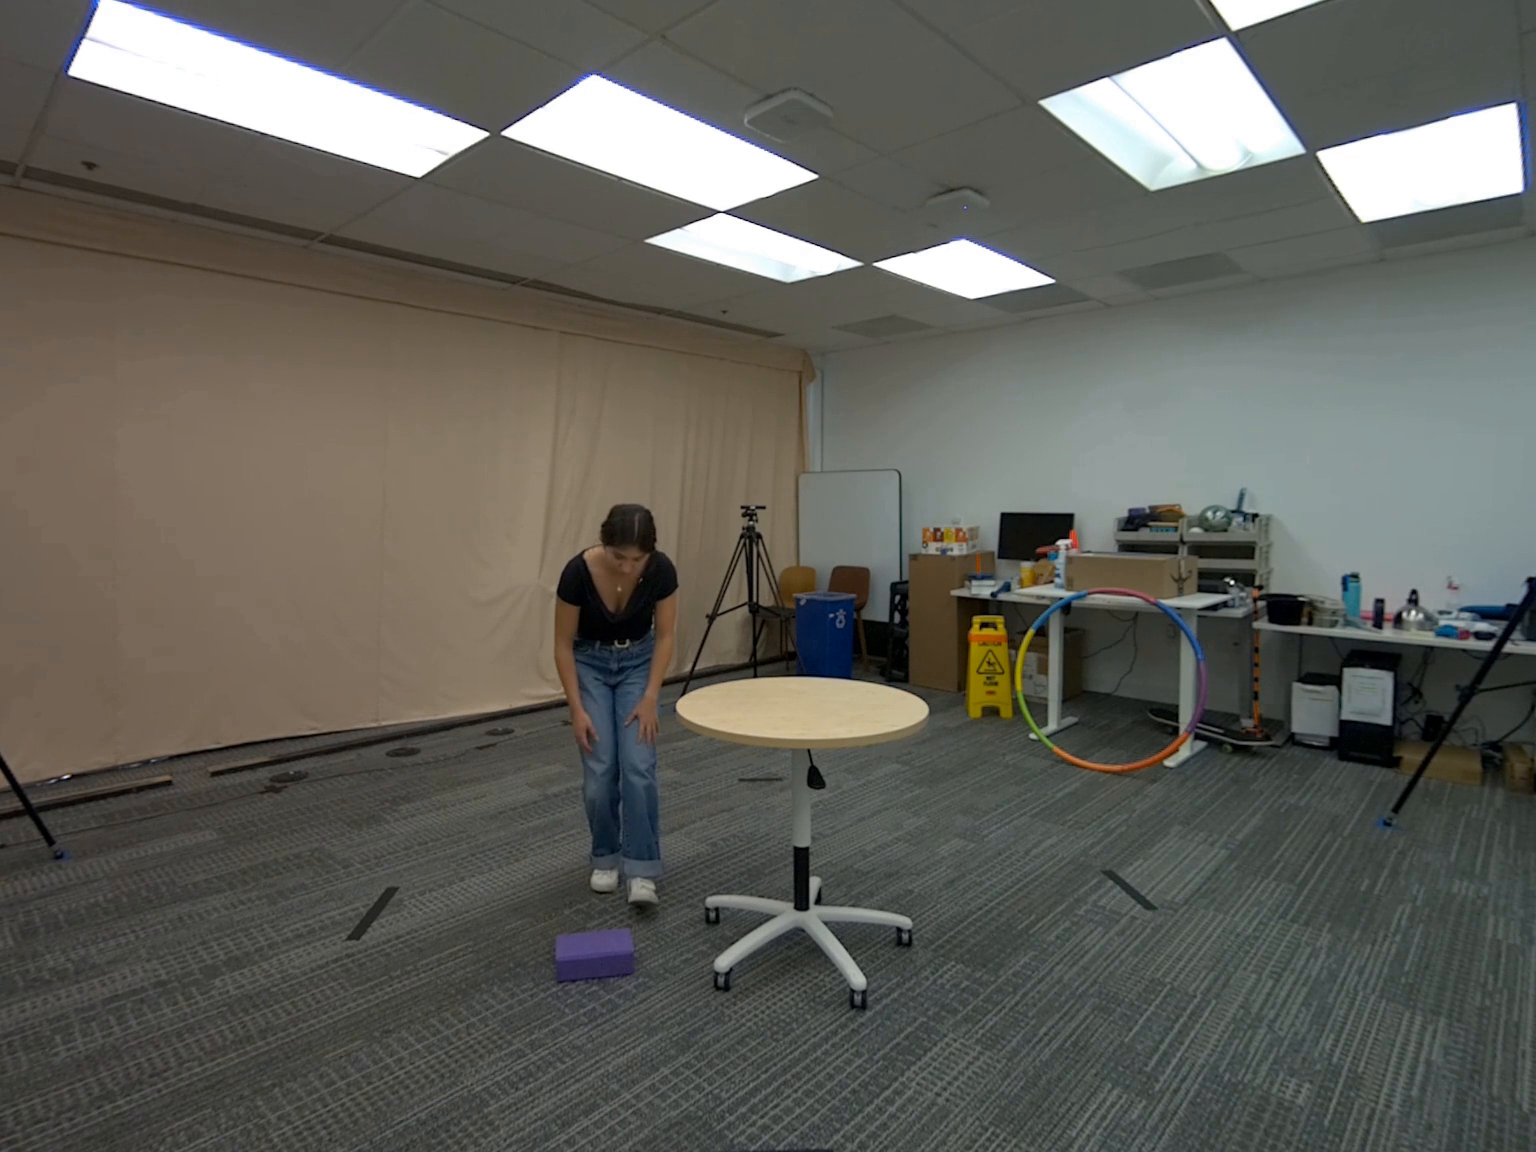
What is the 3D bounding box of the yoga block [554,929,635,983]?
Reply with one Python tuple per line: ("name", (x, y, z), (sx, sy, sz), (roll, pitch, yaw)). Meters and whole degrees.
("yoga block", (-0.528, 1.144, 2.542), (0.227, 0.076, 0.151), (1, 3, -11))
